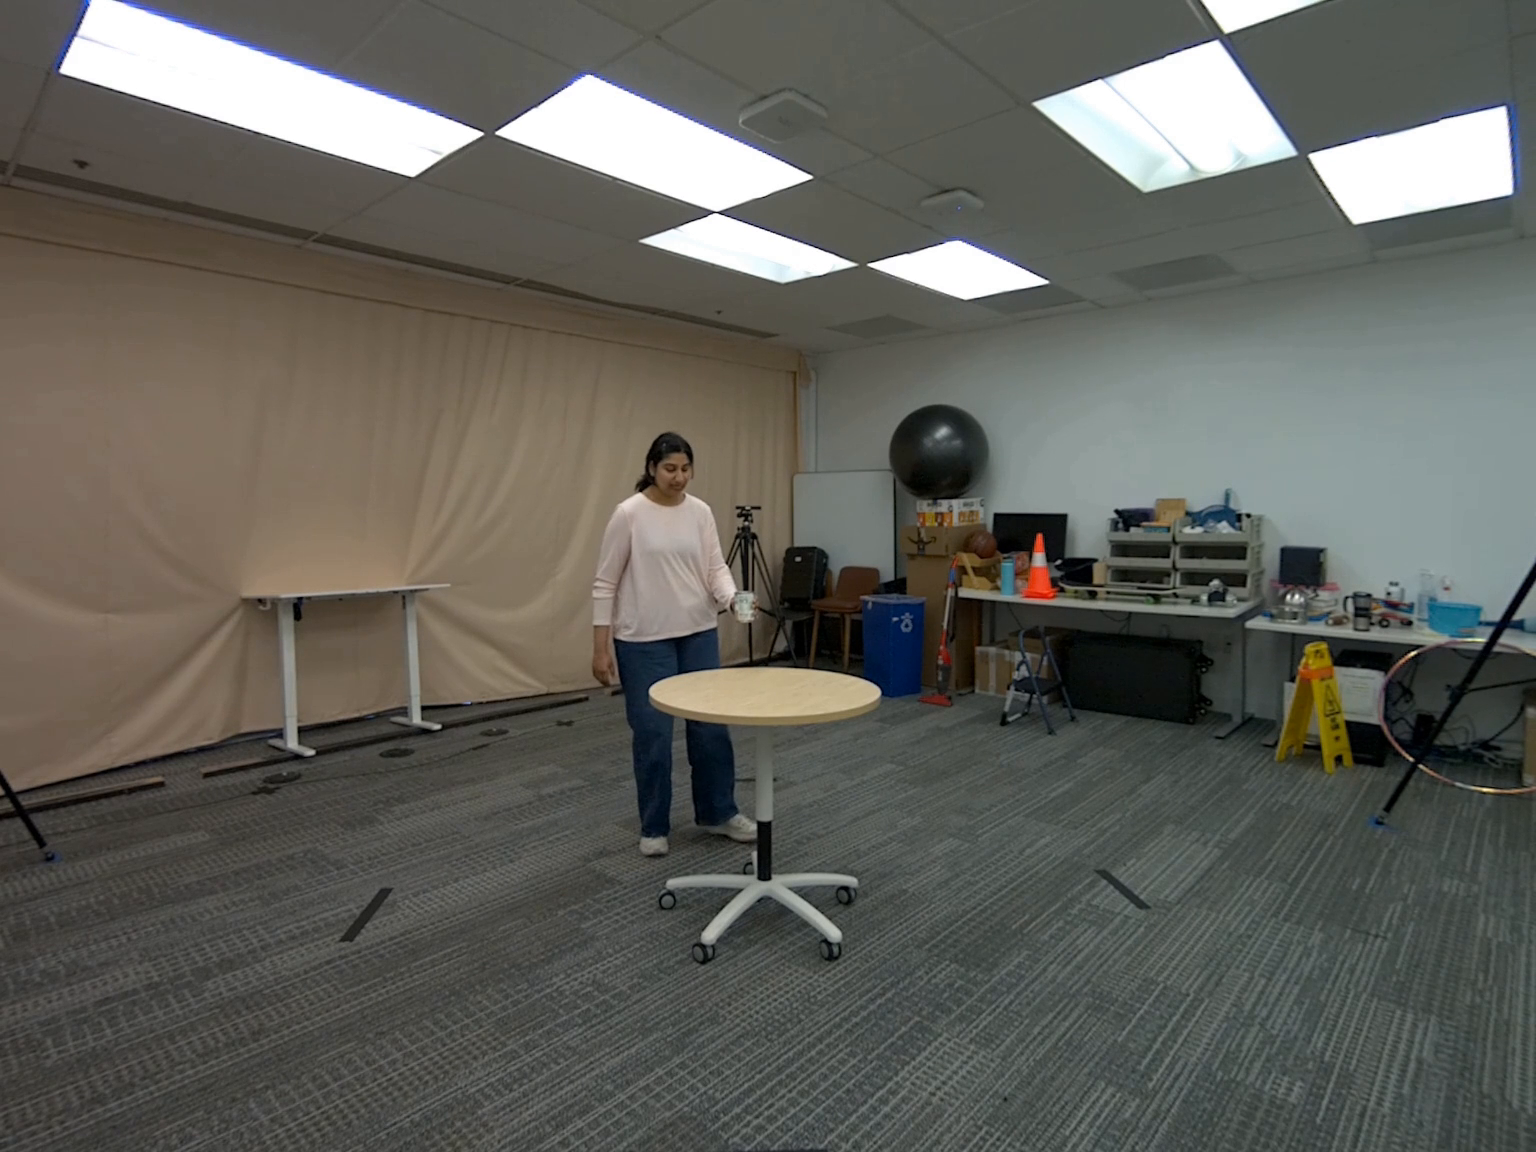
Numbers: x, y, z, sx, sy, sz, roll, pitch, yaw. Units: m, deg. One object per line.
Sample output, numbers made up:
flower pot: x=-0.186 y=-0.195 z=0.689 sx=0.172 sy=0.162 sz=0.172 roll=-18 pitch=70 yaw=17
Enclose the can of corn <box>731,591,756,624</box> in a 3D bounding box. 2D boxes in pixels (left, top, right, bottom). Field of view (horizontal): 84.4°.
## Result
can of corn: x=-0.084 y=0.119 z=3.199 sx=0.074 sy=0.111 sz=0.074 roll=1 pitch=2 yaw=-2
